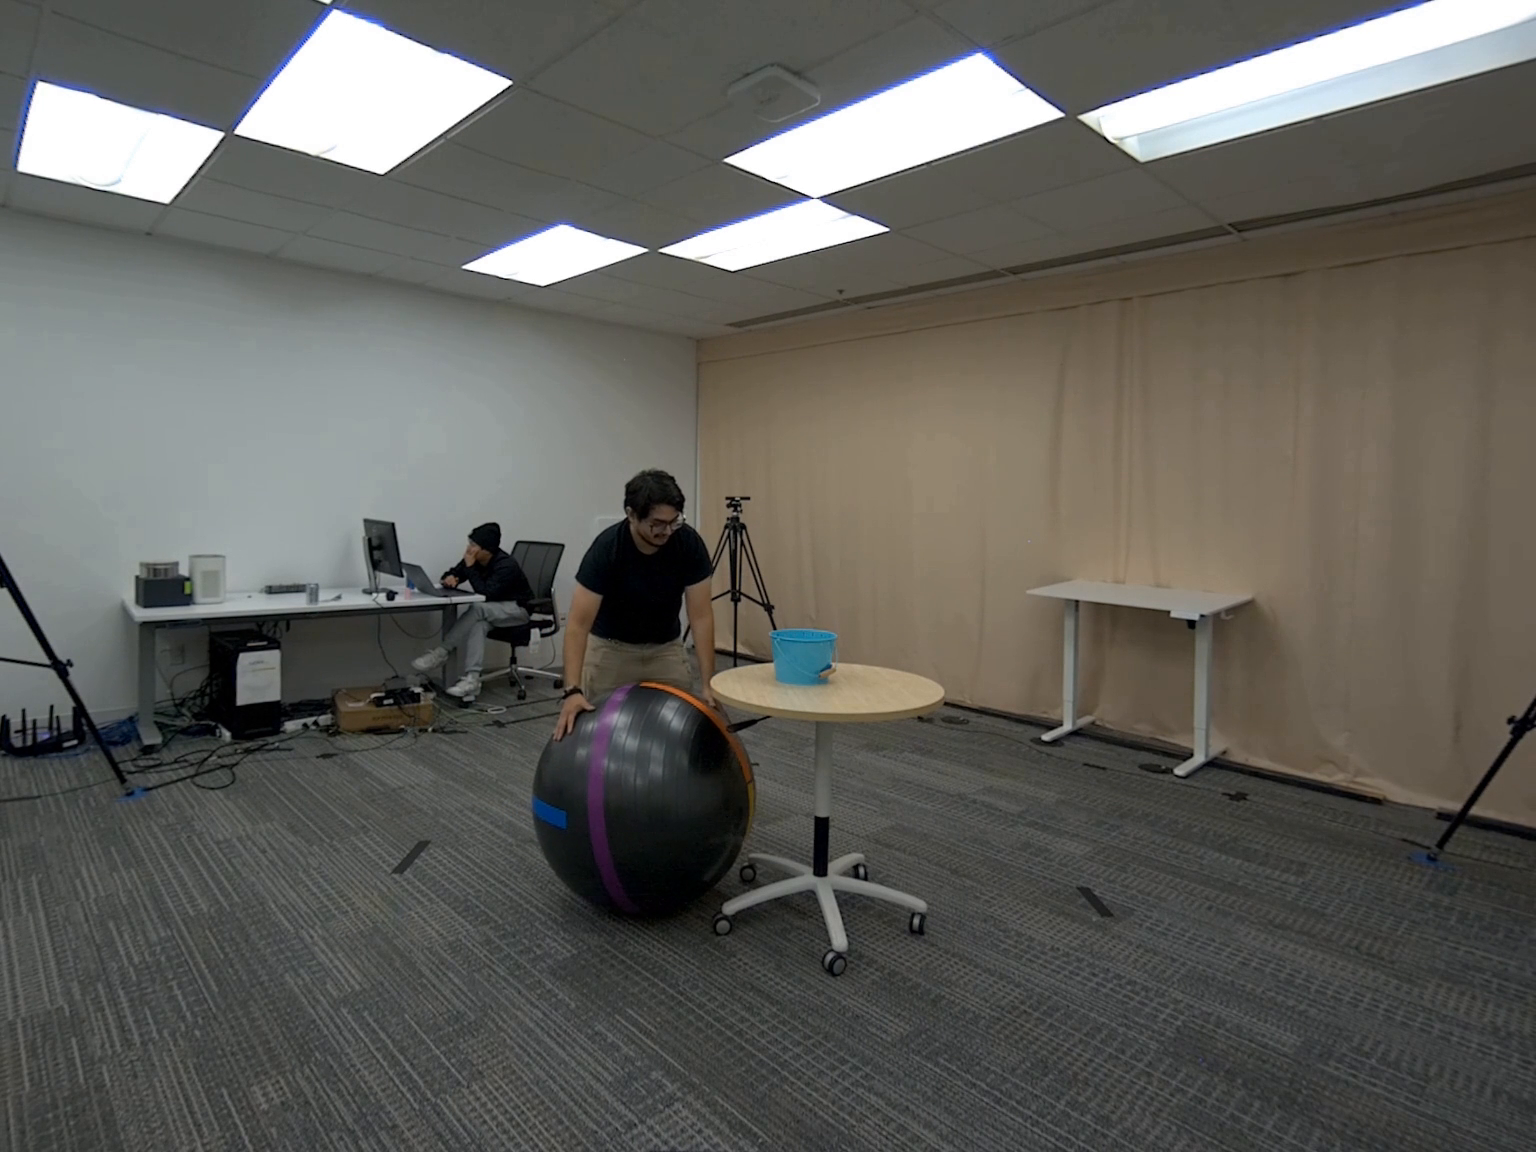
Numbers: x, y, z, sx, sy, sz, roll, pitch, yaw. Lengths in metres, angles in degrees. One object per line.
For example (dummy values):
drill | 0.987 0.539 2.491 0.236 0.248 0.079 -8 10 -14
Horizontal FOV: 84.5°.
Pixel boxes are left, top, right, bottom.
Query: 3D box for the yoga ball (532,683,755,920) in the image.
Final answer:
yoga ball | -0.435 0.764 2.880 0.757 0.756 0.761 1 4 -1
